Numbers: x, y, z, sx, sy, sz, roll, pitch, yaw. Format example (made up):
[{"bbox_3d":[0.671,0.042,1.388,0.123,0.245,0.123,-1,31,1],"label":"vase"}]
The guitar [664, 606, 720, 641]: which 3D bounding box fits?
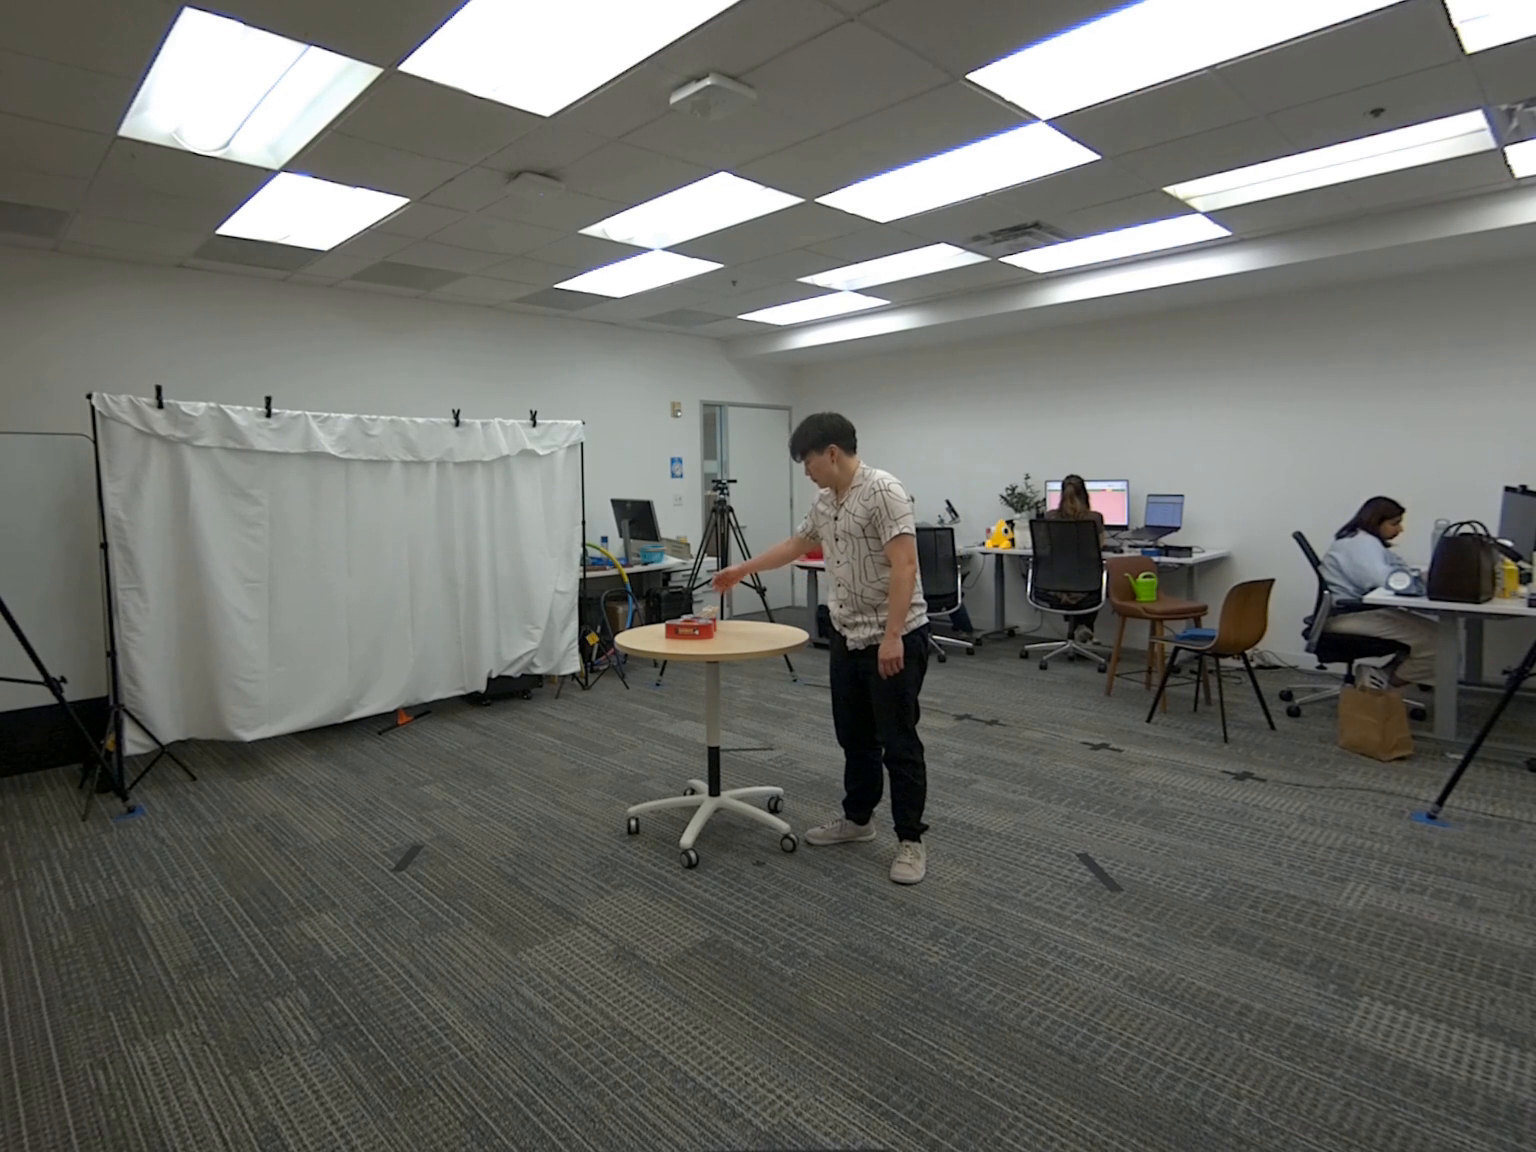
[{"bbox_3d":[-0.252,0.188,3.538,0.197,0.070,0.490,0,6,19],"label":"guitar"}]
